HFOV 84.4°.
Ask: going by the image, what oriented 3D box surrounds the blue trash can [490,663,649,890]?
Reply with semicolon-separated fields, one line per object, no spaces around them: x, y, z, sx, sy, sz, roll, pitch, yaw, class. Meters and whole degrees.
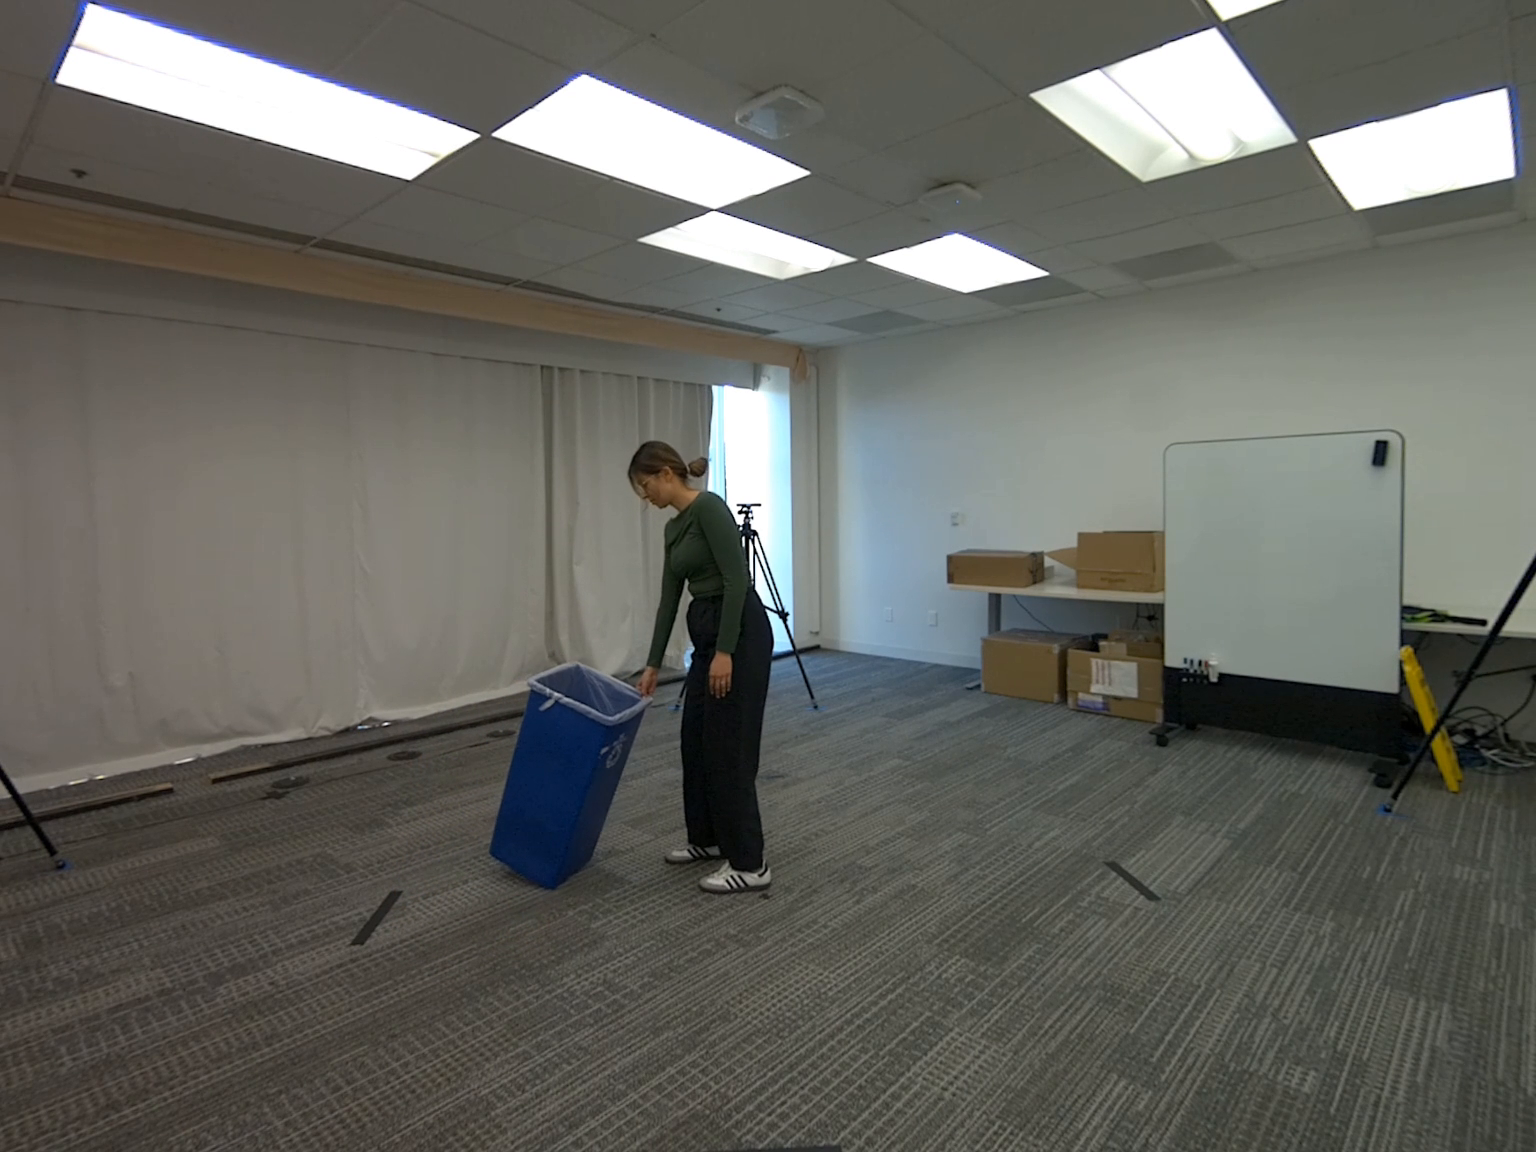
-0.769;0.756;3.189;0.381;0.712;0.372;22;10;15;blue trash can
